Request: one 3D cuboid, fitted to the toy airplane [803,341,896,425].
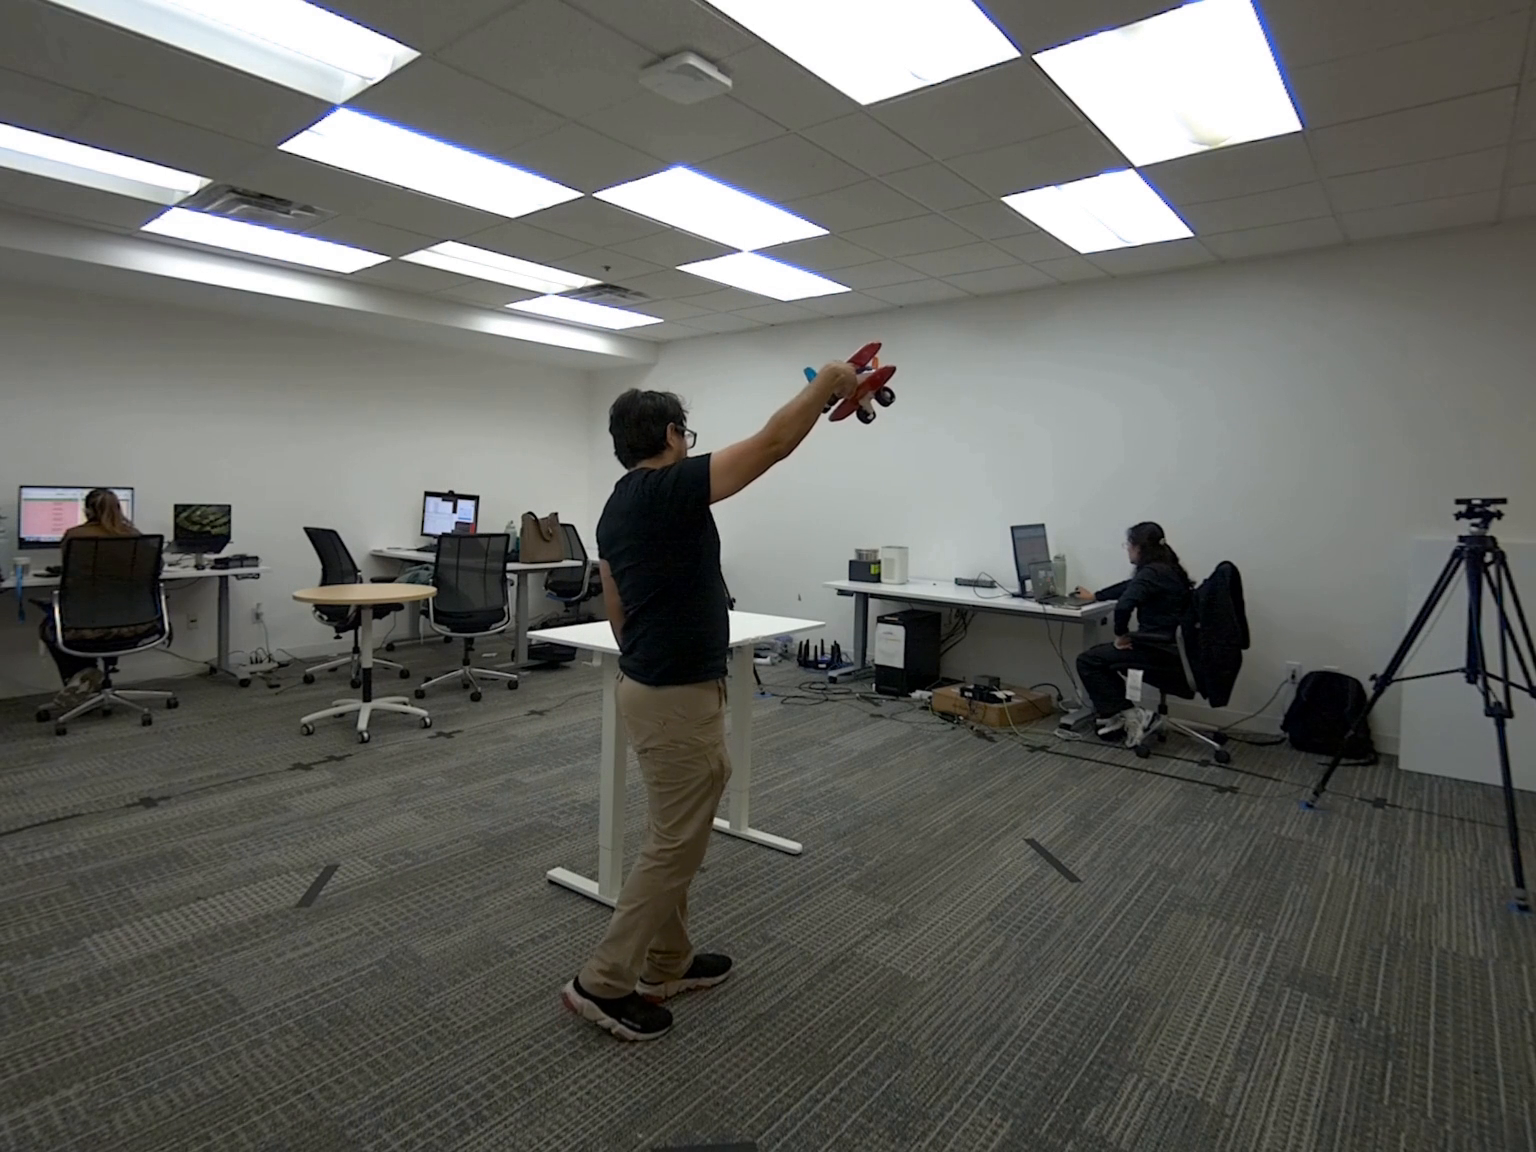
[{"bbox_3d":[0.224,-0.524,2.302,0.254,0.161,0.249,-26,-24,23],"label":"toy airplane"}]
